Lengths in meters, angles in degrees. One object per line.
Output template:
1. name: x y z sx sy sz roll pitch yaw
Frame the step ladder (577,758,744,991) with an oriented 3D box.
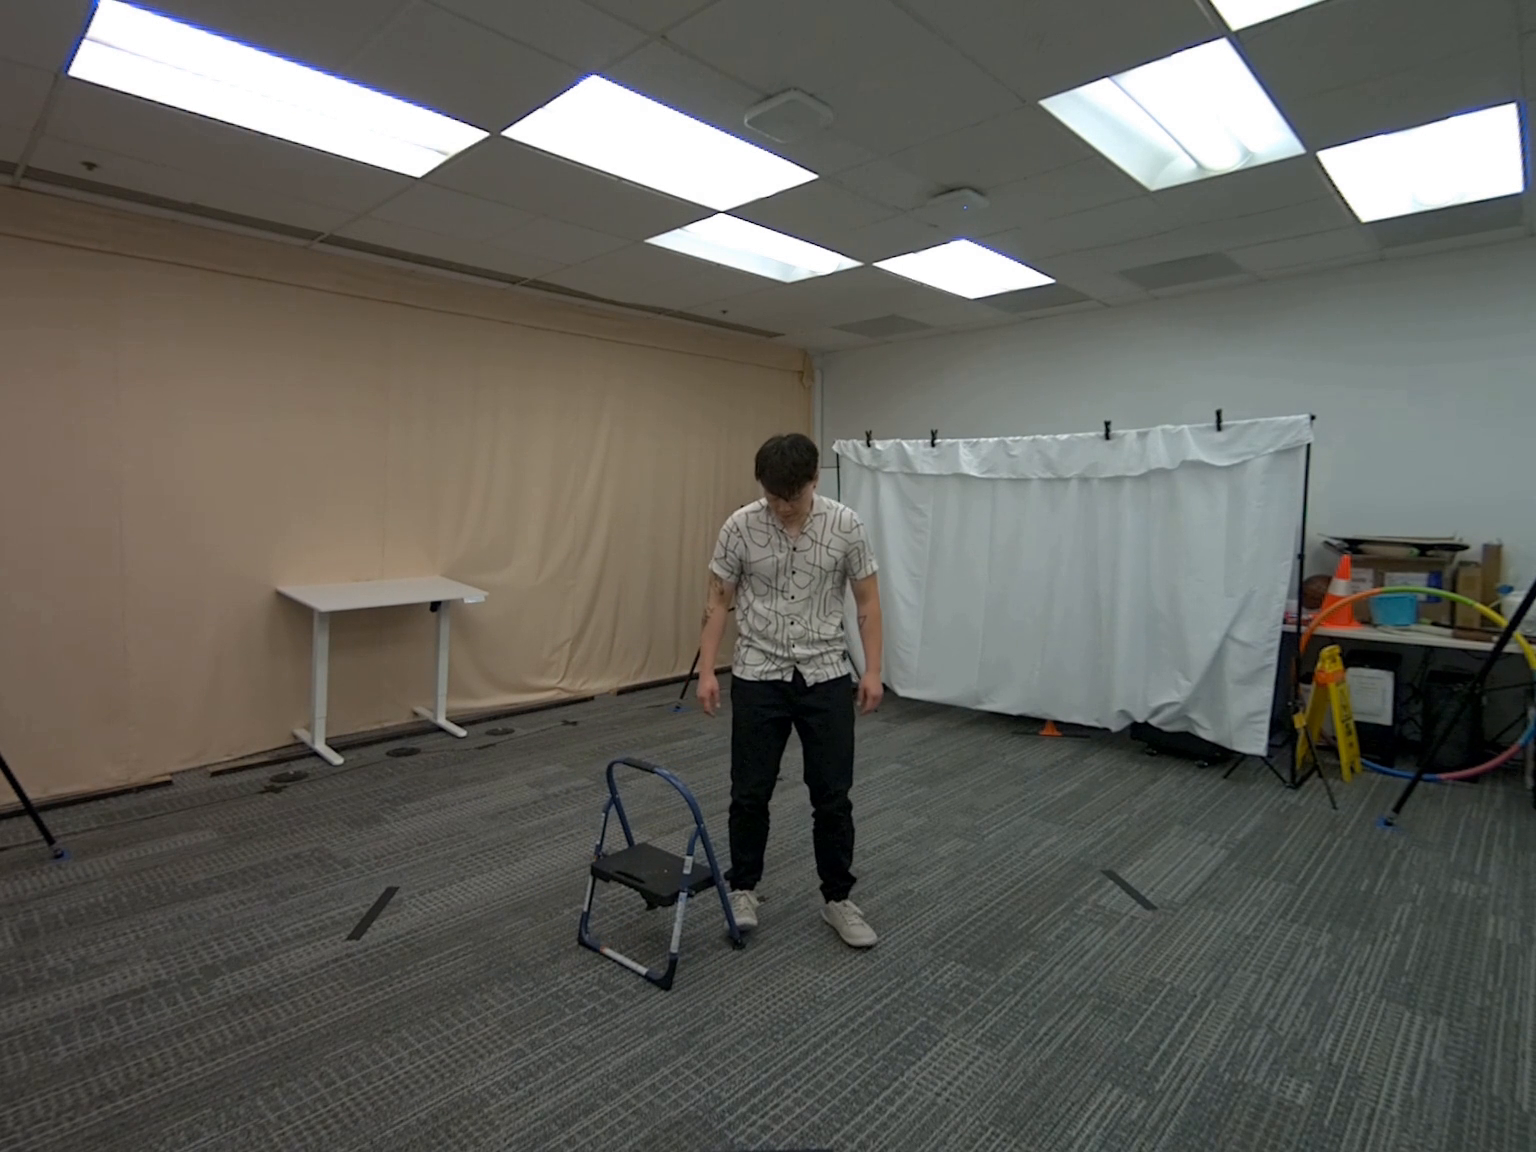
1. step ladder: -0.343 0.871 2.658 0.445 0.605 0.339 2 4 40
